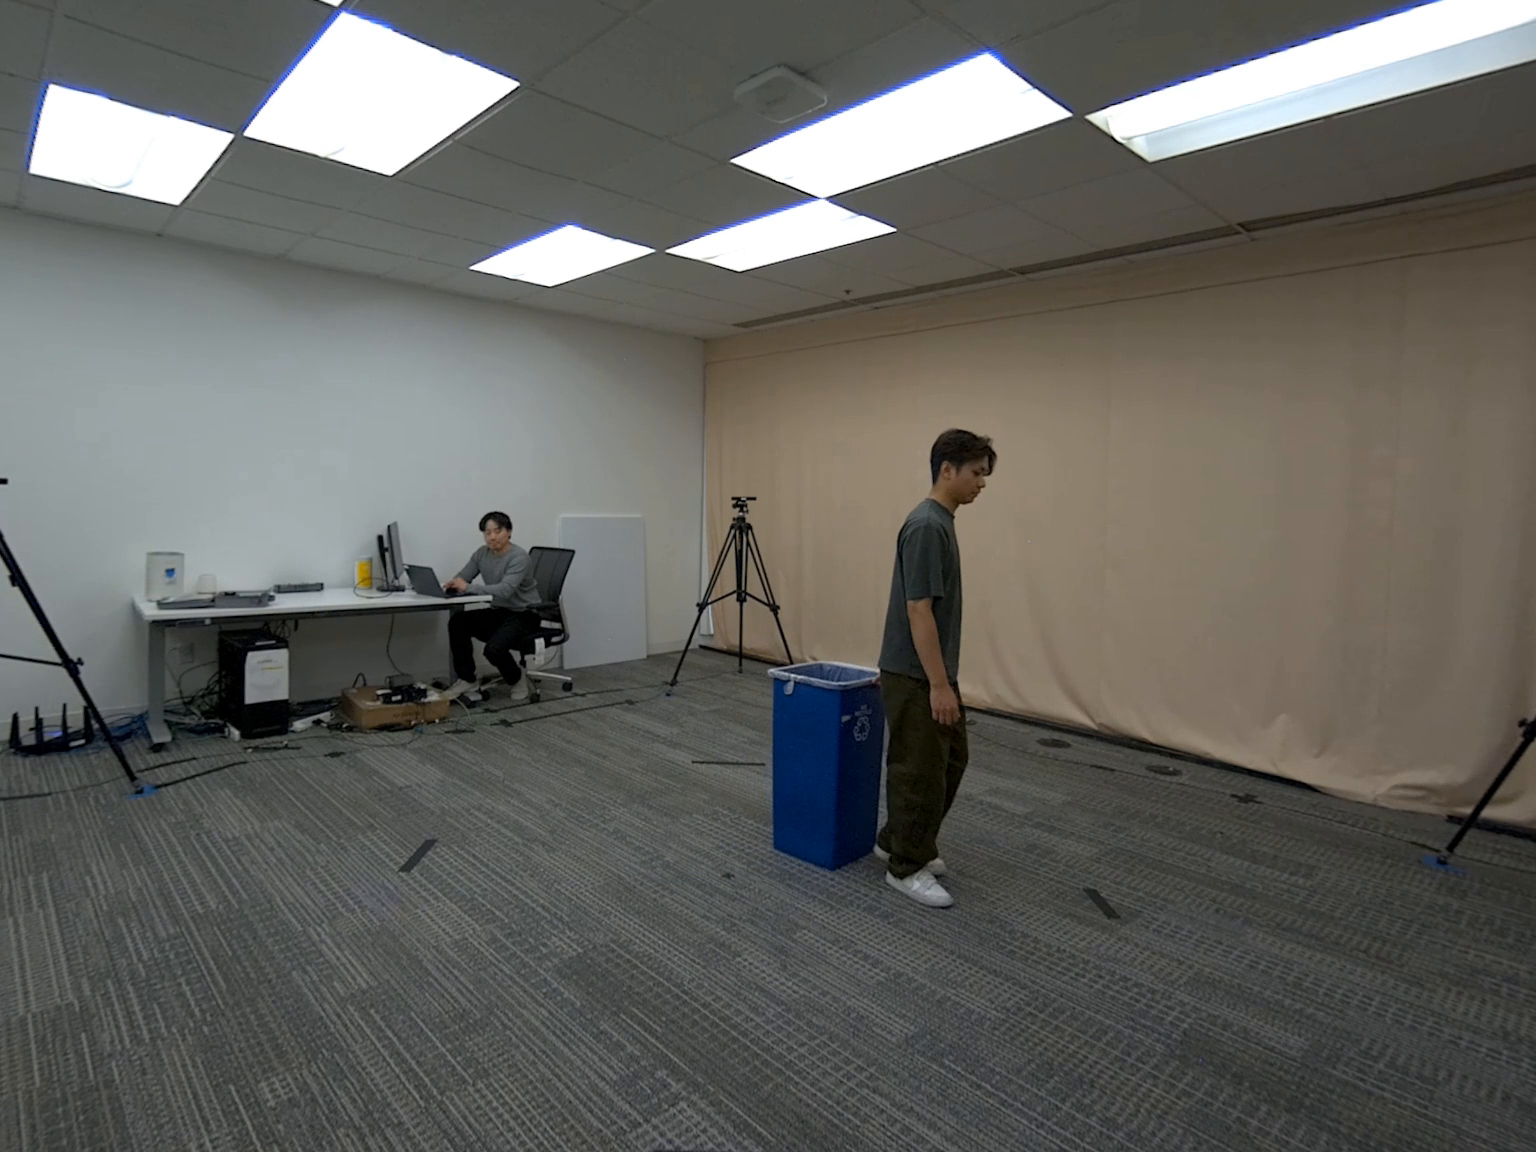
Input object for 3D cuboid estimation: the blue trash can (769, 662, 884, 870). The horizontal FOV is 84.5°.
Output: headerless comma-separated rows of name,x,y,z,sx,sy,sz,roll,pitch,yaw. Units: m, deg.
blue trash can,0.235,0.732,3.362,0.387,0.712,0.365,4,4,41
